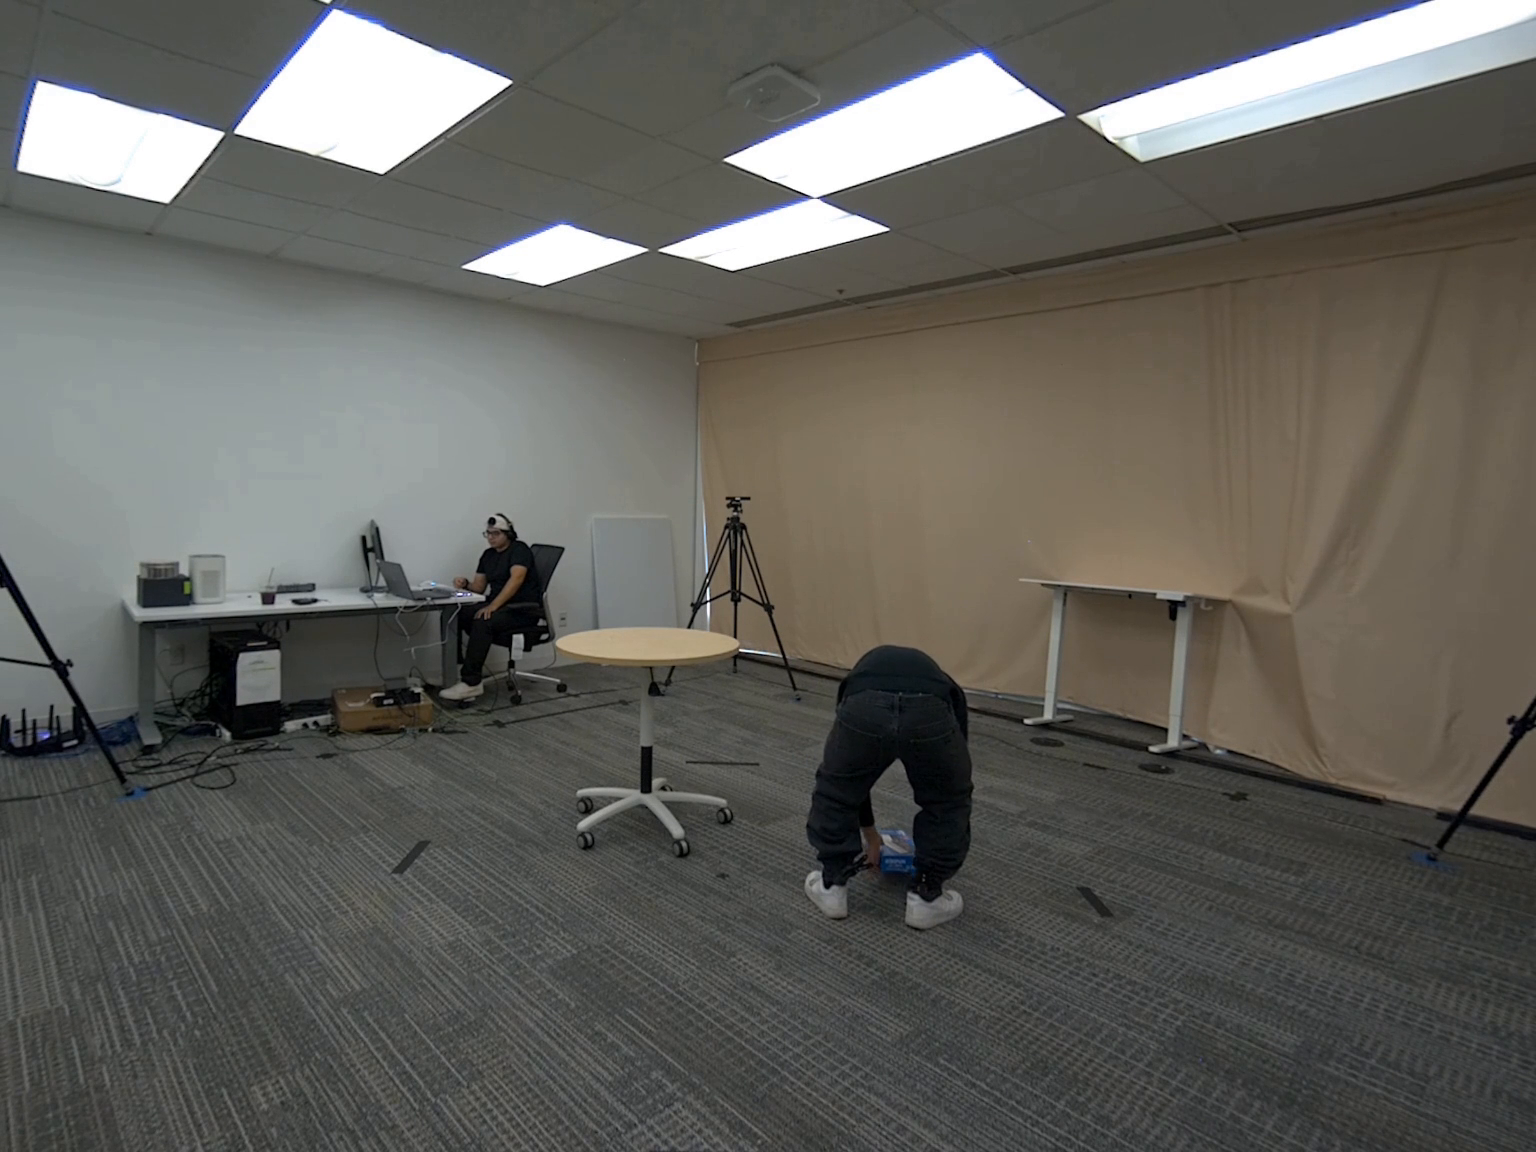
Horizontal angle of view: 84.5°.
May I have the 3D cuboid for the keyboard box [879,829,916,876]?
[{"bbox_3d":[0.473,1.050,3.226,0.175,0.059,0.436,2,-4,-3],"label":"keyboard box"}]
